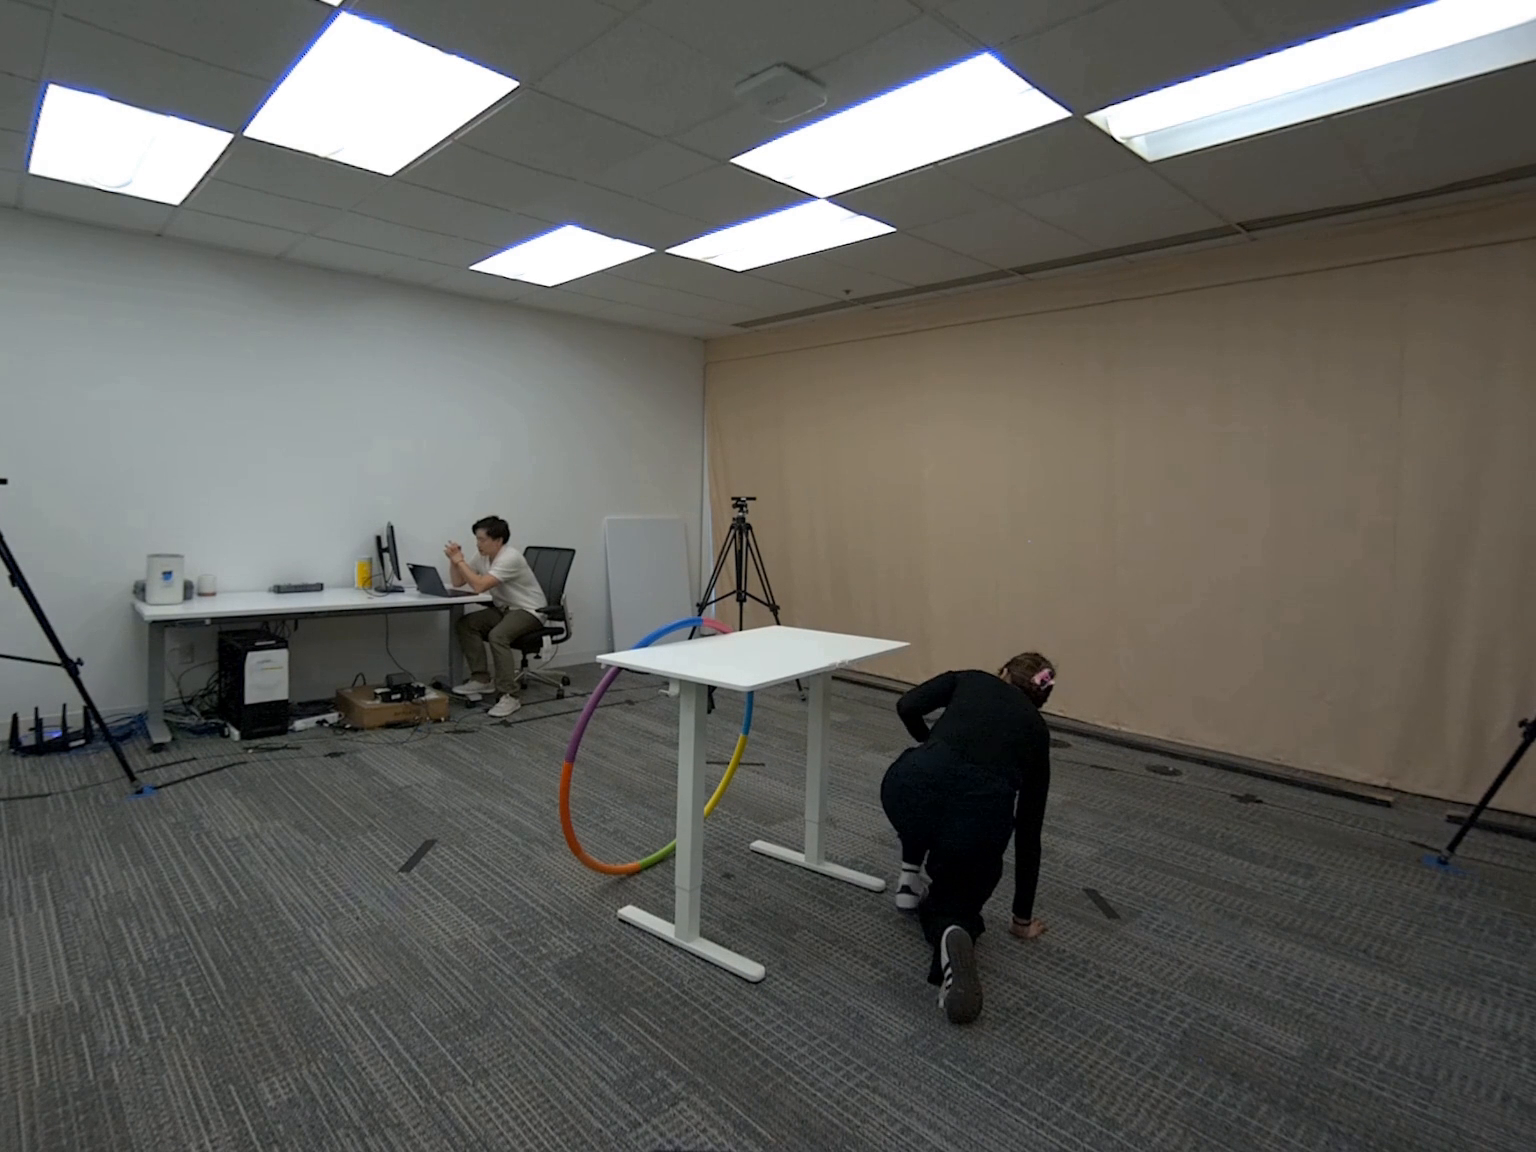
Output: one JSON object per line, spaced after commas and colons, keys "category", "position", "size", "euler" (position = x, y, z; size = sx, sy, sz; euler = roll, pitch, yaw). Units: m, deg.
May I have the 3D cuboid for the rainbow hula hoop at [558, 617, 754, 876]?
{"category": "rainbow hula hoop", "position": [-0.370, 0.620, 3.091], "size": [0.036, 0.972, 0.957], "euler": [17, 13, 35]}
